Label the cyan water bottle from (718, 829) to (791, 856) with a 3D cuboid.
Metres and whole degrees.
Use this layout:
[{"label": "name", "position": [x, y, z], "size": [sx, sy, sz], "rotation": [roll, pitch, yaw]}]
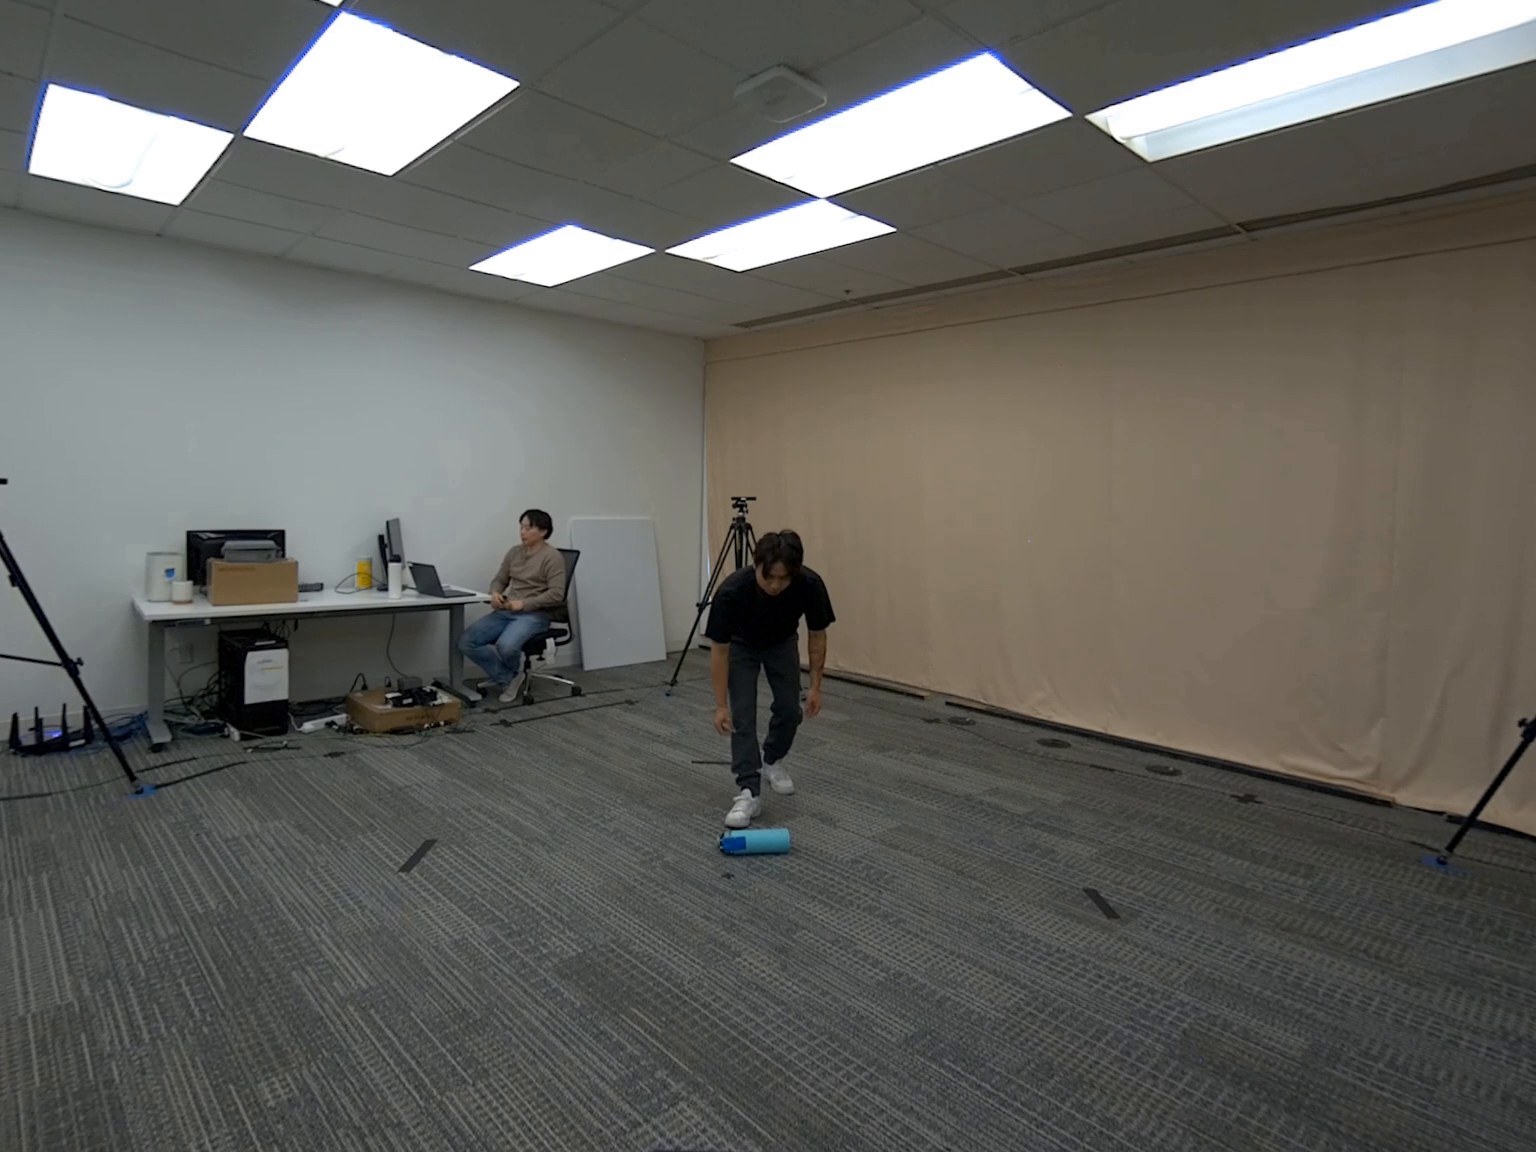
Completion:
[{"label": "cyan water bottle", "position": [-0.071, 1.042, 3.308], "size": [0.281, 0.092, 0.093], "rotation": [0, 4, -9]}]
